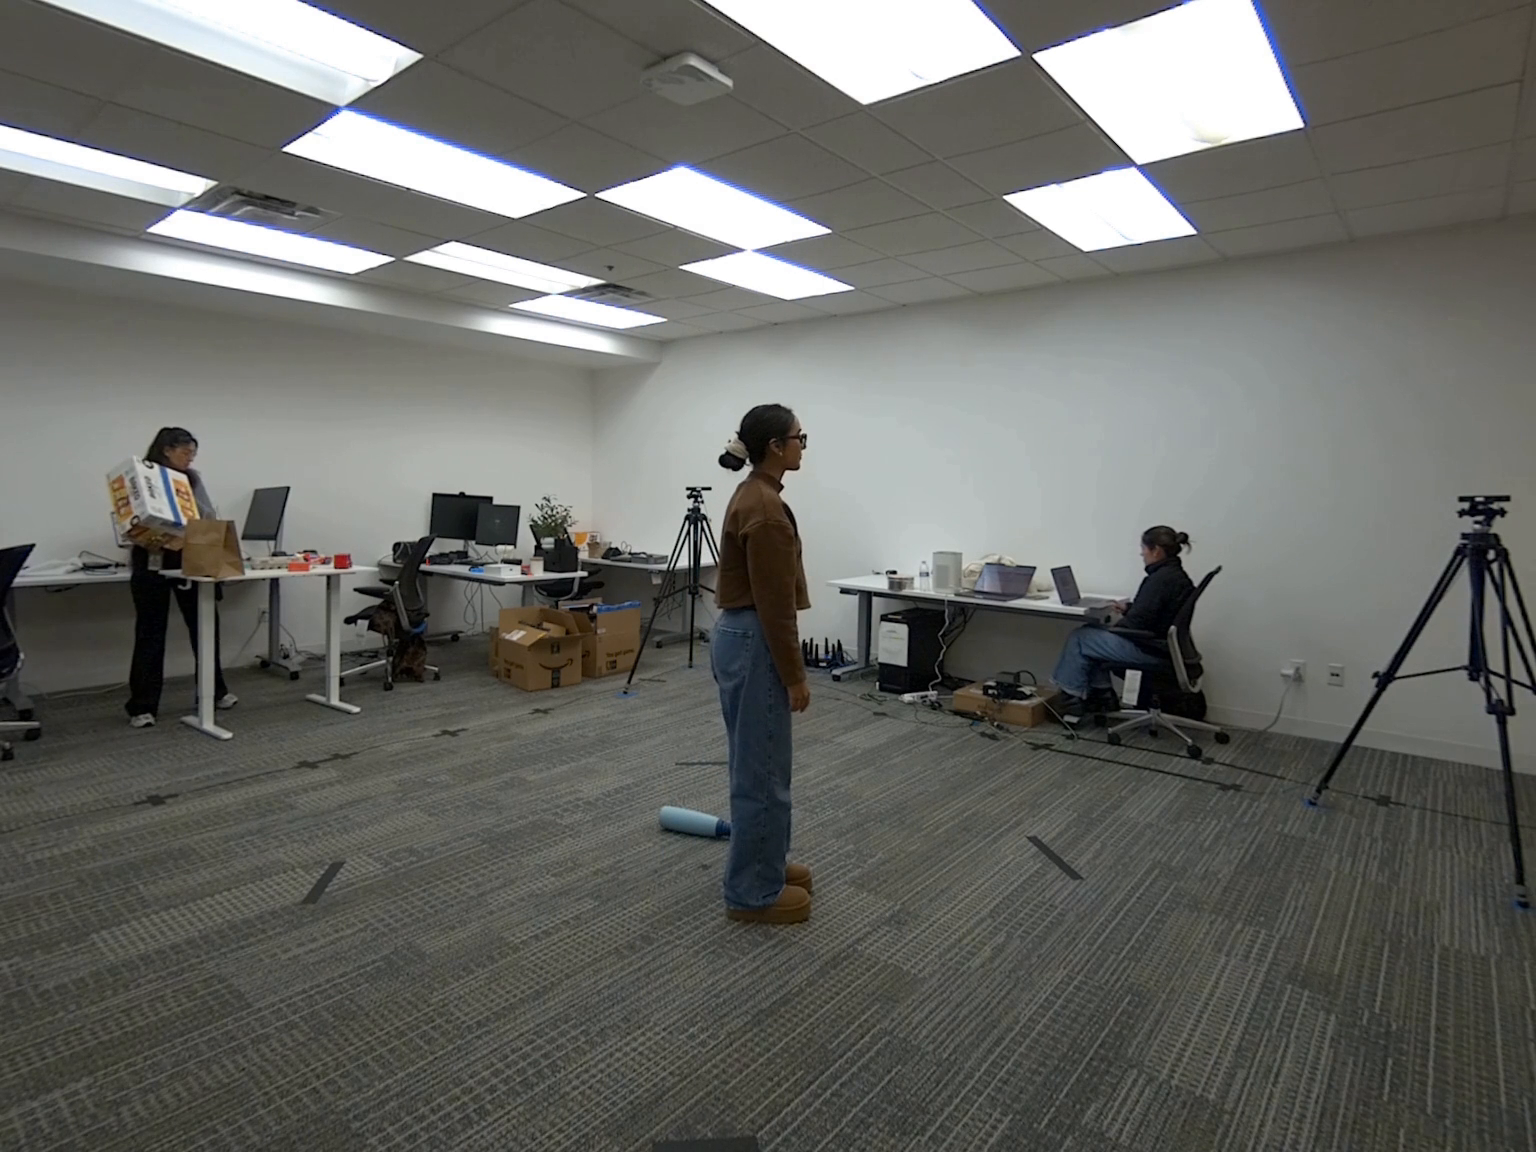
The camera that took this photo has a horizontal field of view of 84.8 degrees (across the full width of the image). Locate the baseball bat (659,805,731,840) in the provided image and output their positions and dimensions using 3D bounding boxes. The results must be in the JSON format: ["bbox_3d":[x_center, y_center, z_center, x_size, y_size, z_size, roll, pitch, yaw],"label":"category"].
[{"bbox_3d":[-0.187,1.002,3.379,0.554,0.089,0.087,5,5,19],"label":"baseball bat"}]
